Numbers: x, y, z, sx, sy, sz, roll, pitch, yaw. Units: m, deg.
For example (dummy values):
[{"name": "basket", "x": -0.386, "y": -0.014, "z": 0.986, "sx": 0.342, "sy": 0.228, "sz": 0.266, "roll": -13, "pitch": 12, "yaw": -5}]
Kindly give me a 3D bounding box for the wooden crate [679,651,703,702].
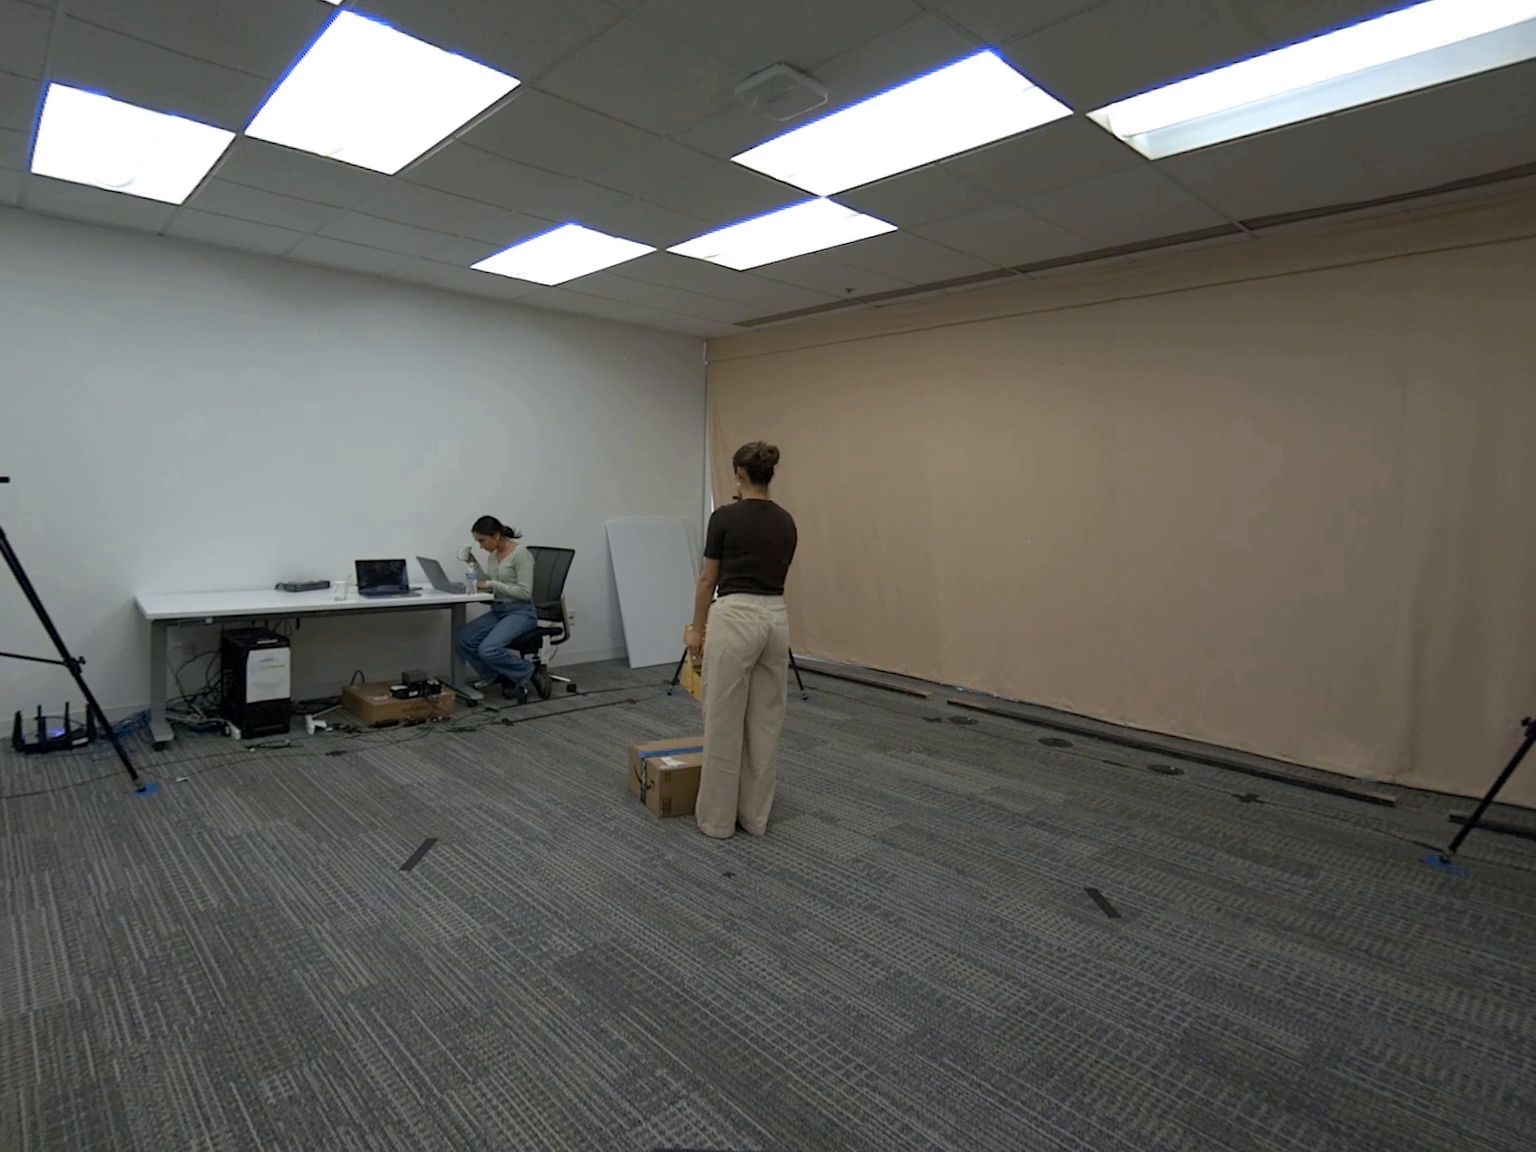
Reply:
[{"name": "wooden crate", "x": -0.199, "y": 0.384, "z": 3.681, "sx": 0.318, "sy": 0.271, "sz": 0.310, "roll": 6, "pitch": 13, "yaw": -27}]
